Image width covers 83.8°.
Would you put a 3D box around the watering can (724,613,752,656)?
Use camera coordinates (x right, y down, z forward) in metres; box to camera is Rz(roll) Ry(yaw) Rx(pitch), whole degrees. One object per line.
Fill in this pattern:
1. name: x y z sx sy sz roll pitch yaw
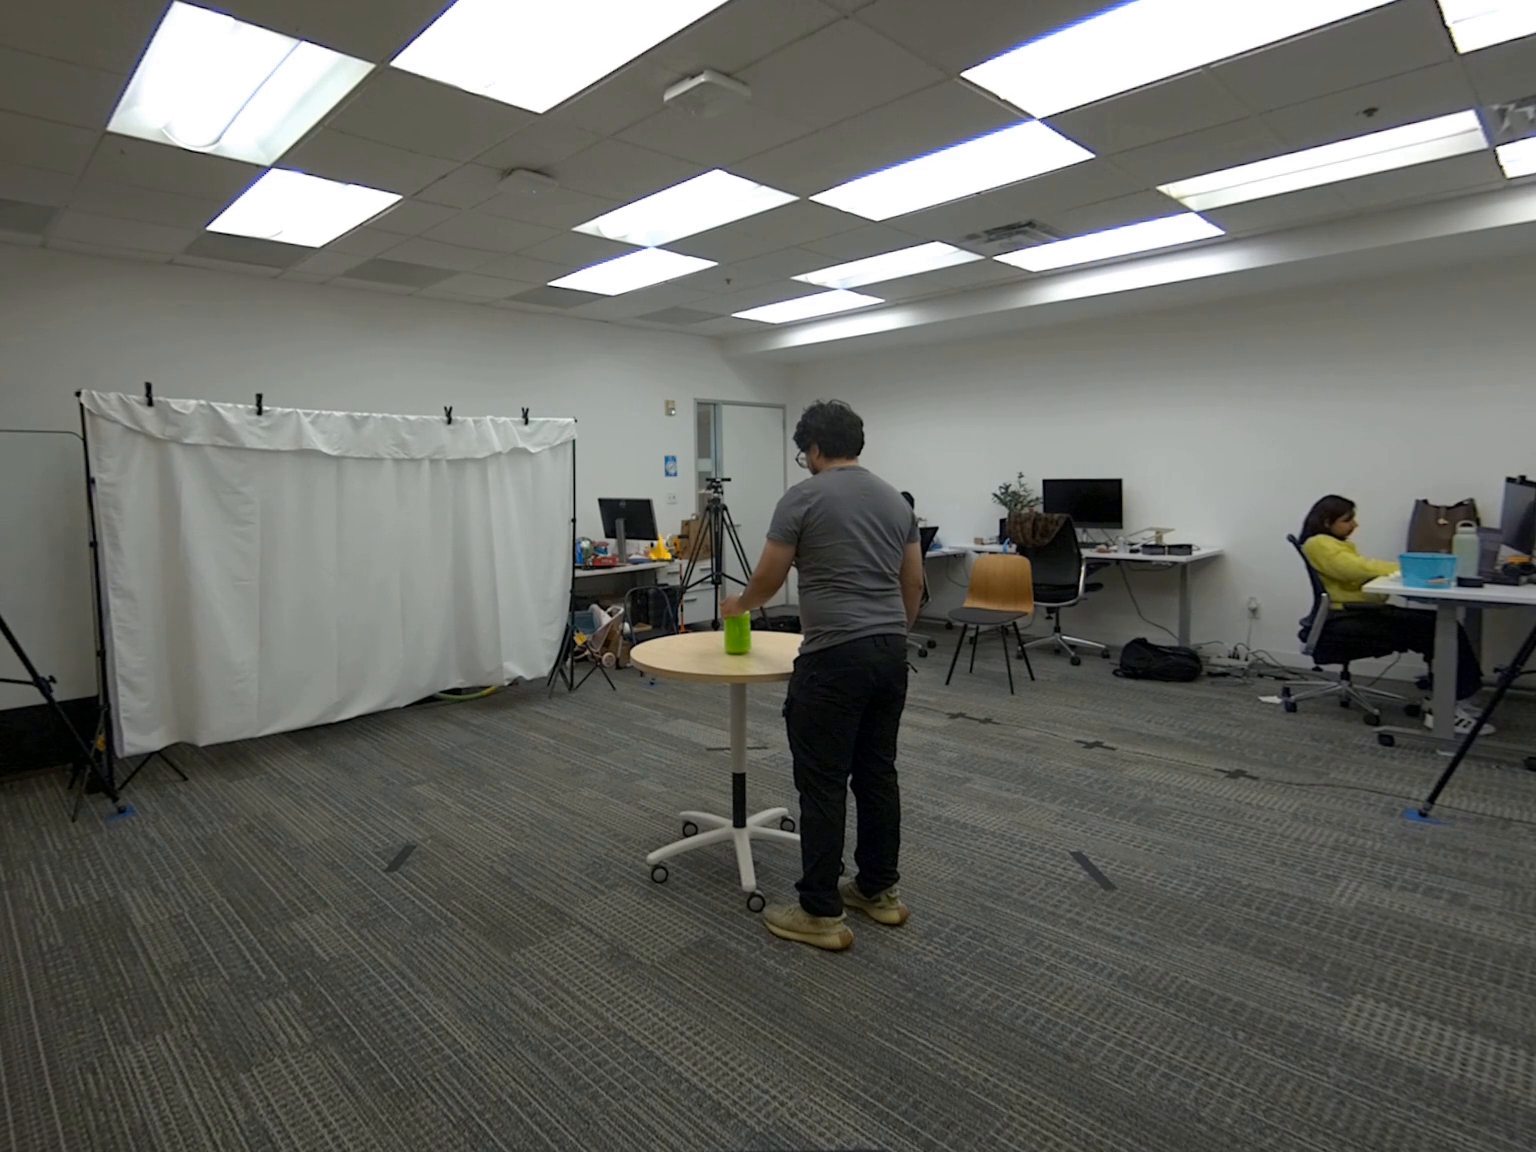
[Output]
1. watering can: -0.091 0.172 3.058 0.100 0.176 0.273 0 6 24
